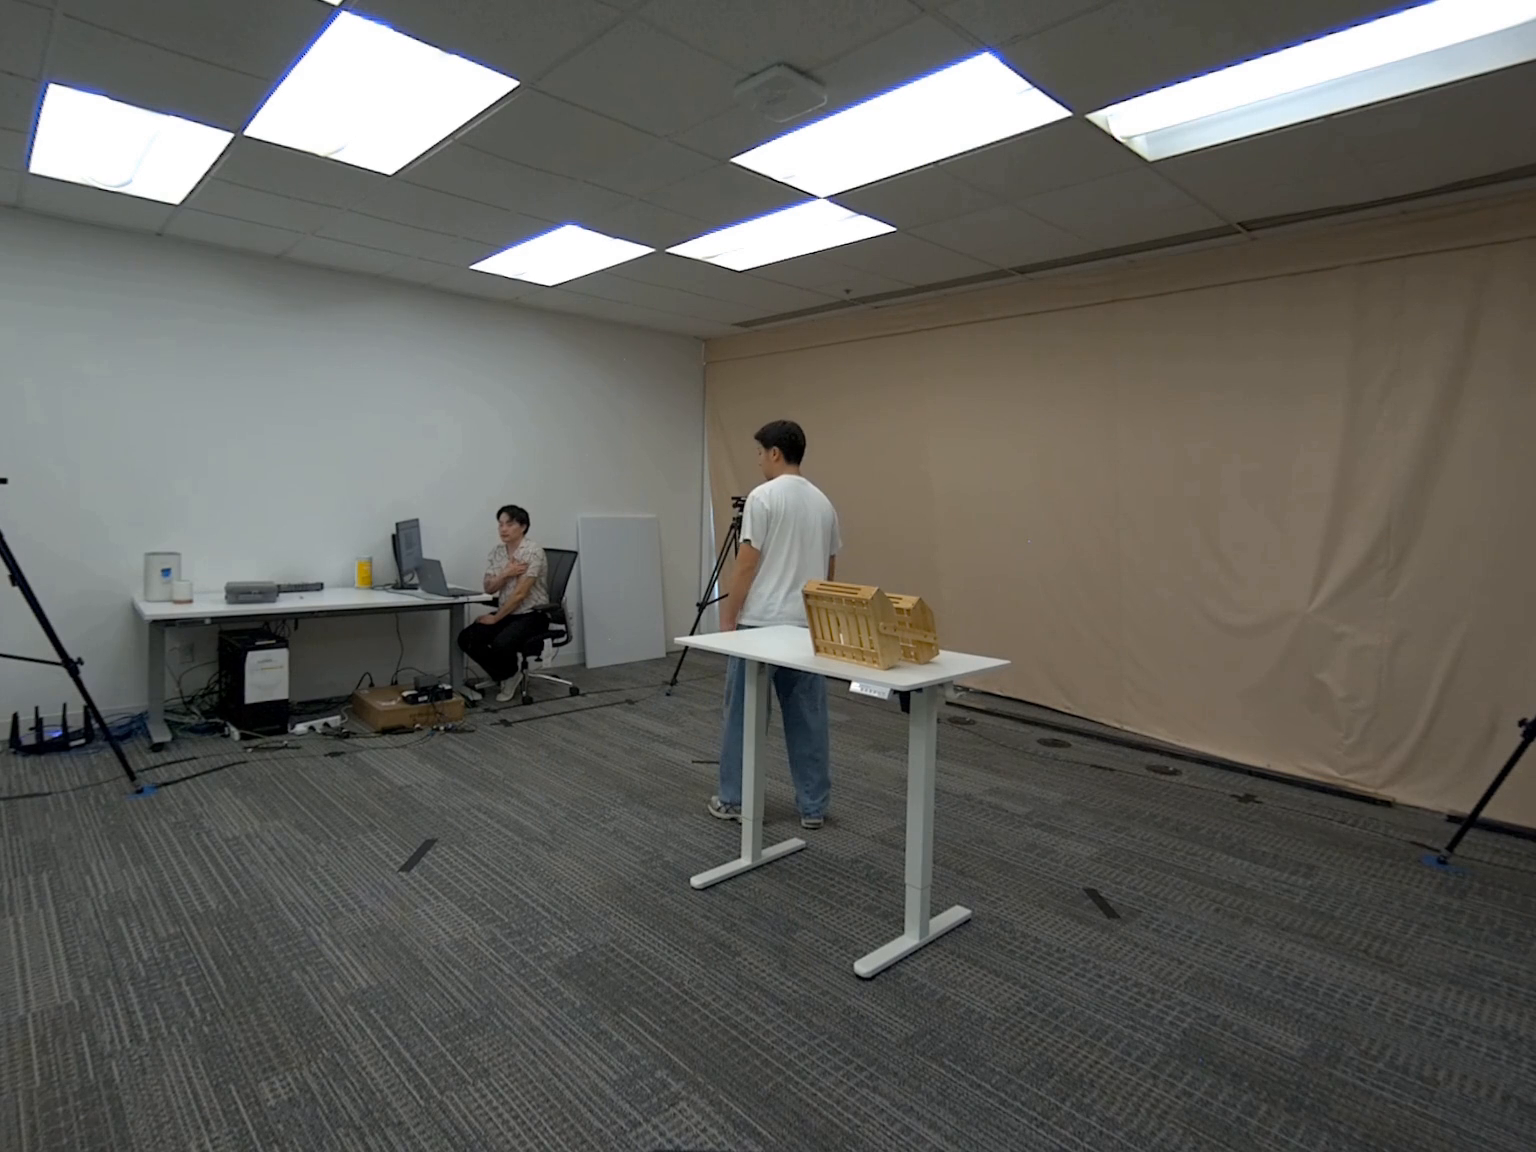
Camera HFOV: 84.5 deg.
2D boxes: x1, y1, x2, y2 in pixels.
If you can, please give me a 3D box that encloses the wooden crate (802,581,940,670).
[{"bbox_3d":[0.320,0.139,2.694,0.269,0.298,0.332,-22,17,-36],"label":"wooden crate"}]
